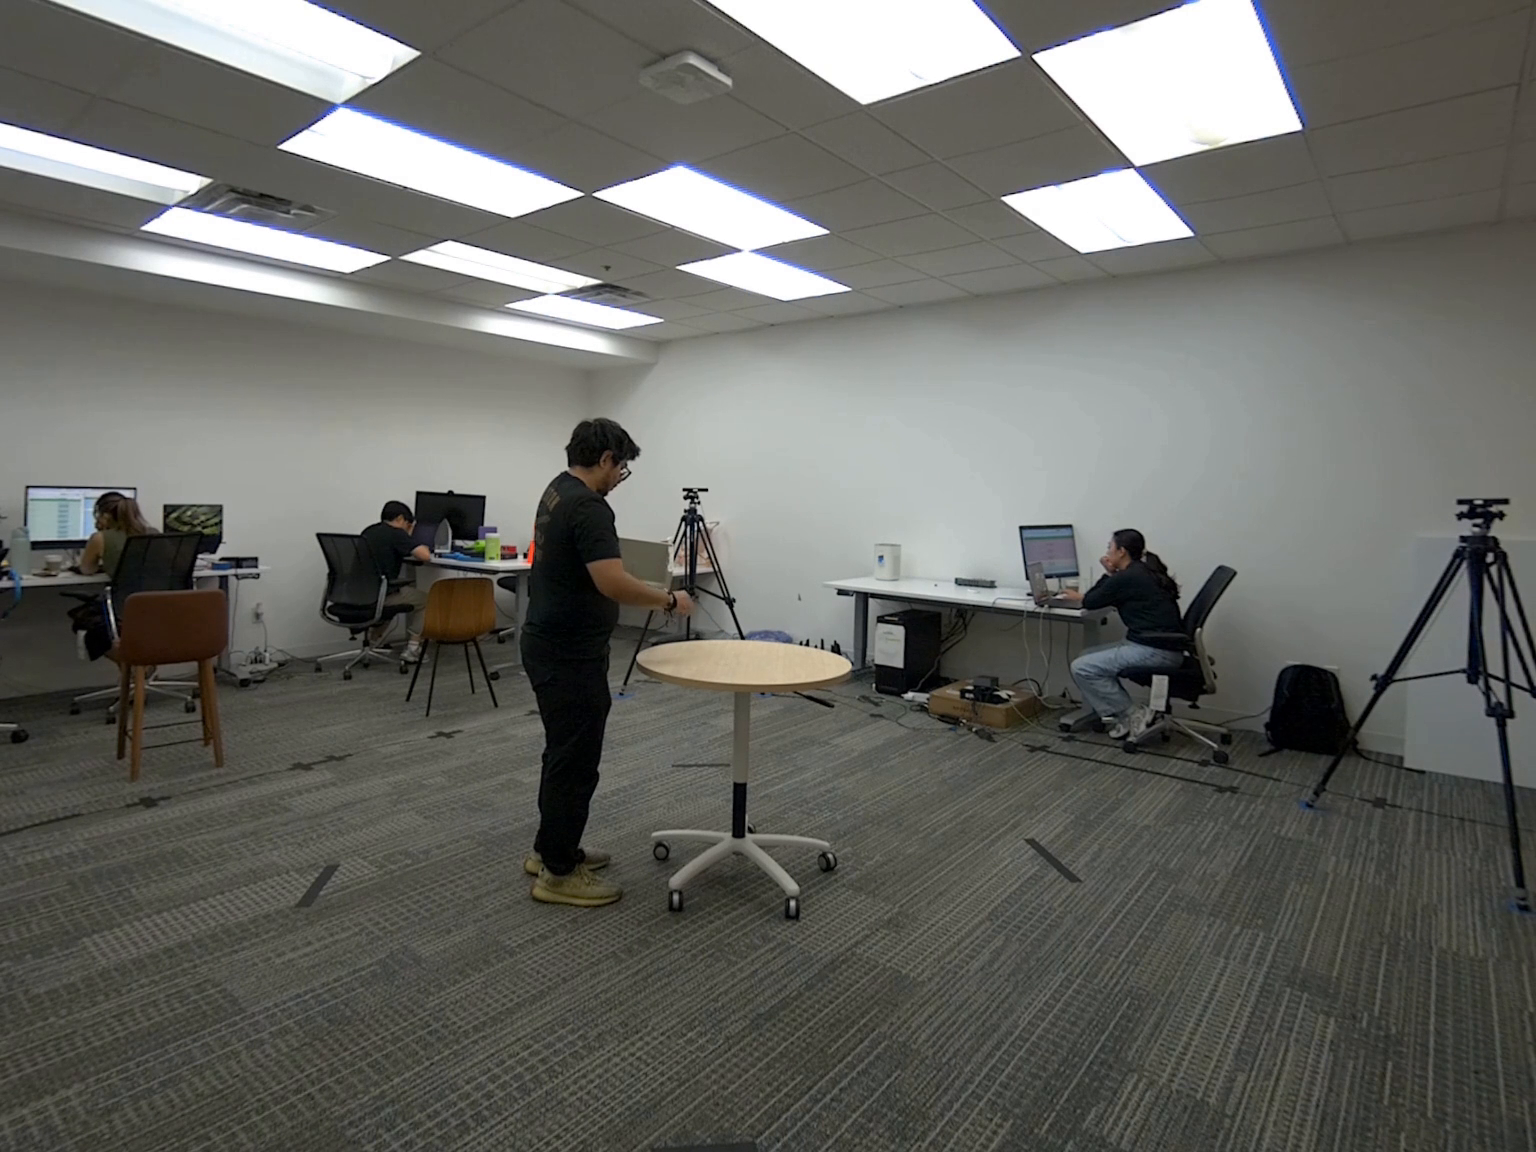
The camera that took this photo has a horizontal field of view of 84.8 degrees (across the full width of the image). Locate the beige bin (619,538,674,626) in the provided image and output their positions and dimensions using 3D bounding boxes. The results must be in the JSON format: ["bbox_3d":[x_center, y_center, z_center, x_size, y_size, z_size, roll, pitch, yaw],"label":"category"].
[{"bbox_3d":[-0.588,-0.017,3.215,0.420,0.187,0.384,8,14,-6],"label":"beige bin"}]
